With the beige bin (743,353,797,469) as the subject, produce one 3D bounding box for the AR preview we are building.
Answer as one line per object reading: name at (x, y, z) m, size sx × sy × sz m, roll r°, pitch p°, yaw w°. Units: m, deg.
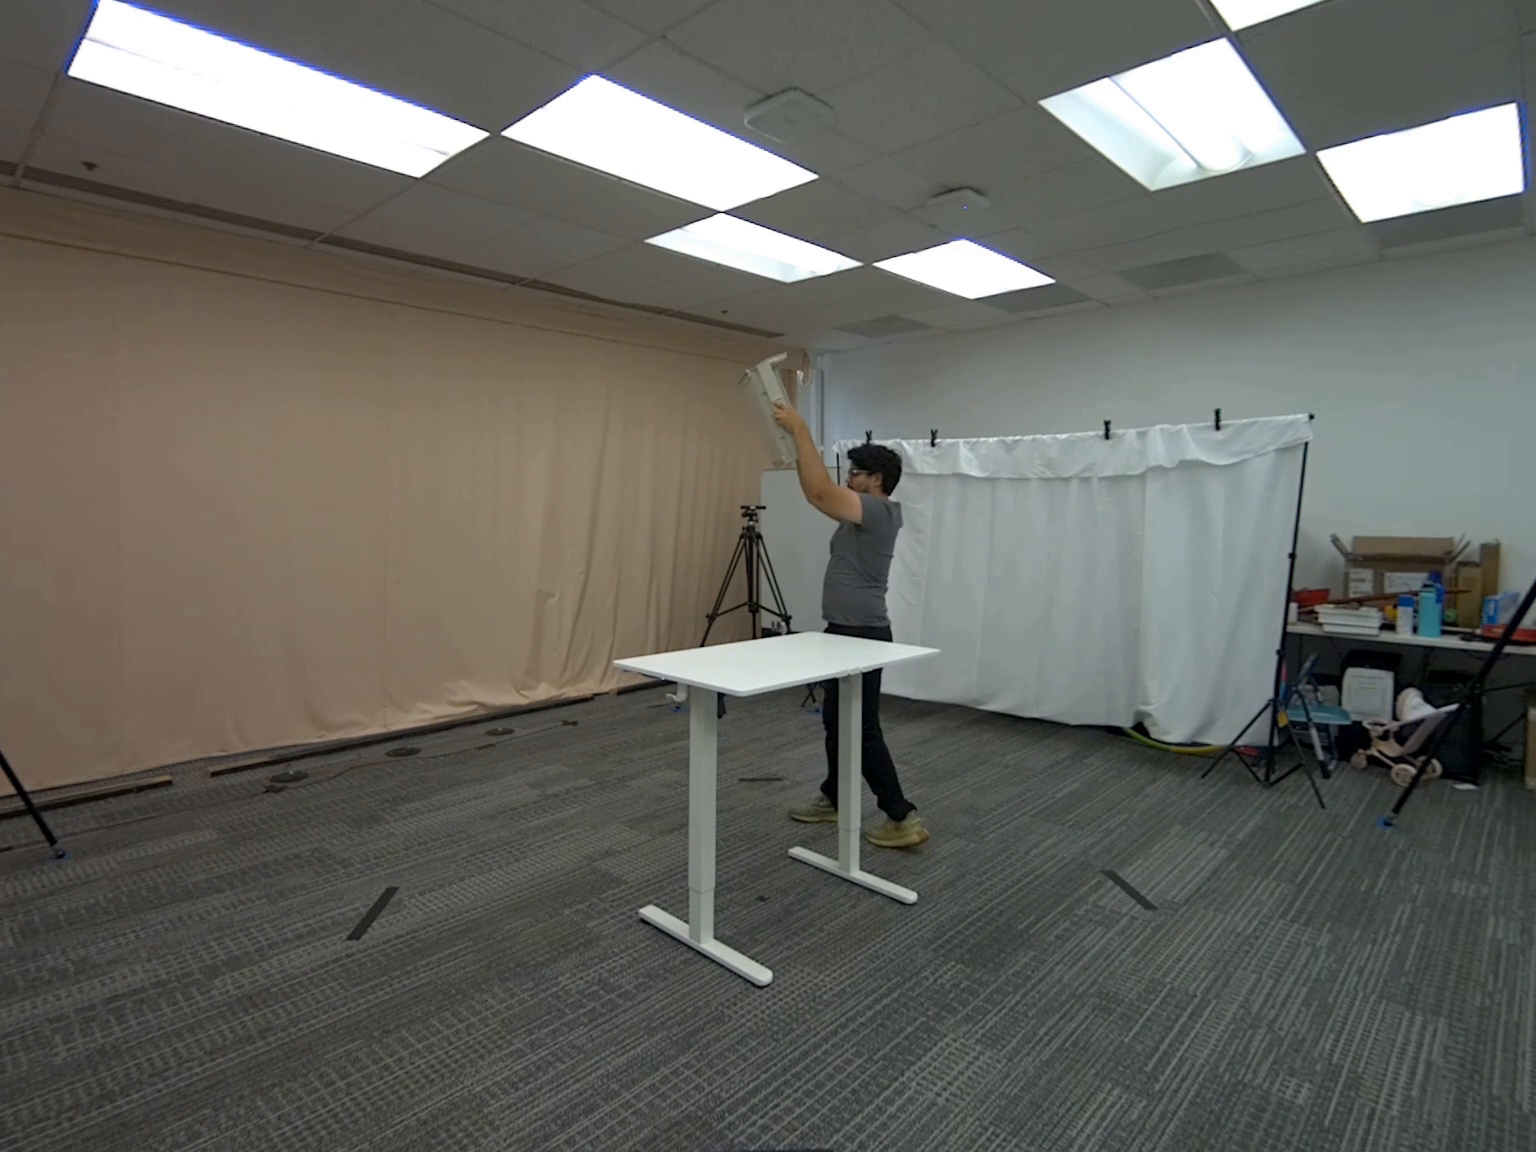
beige bin at (0.061, -0.685, 3.534) m, size 0.188 × 0.420 × 0.380 m, roll -24°, pitch 6°, yaw -4°
